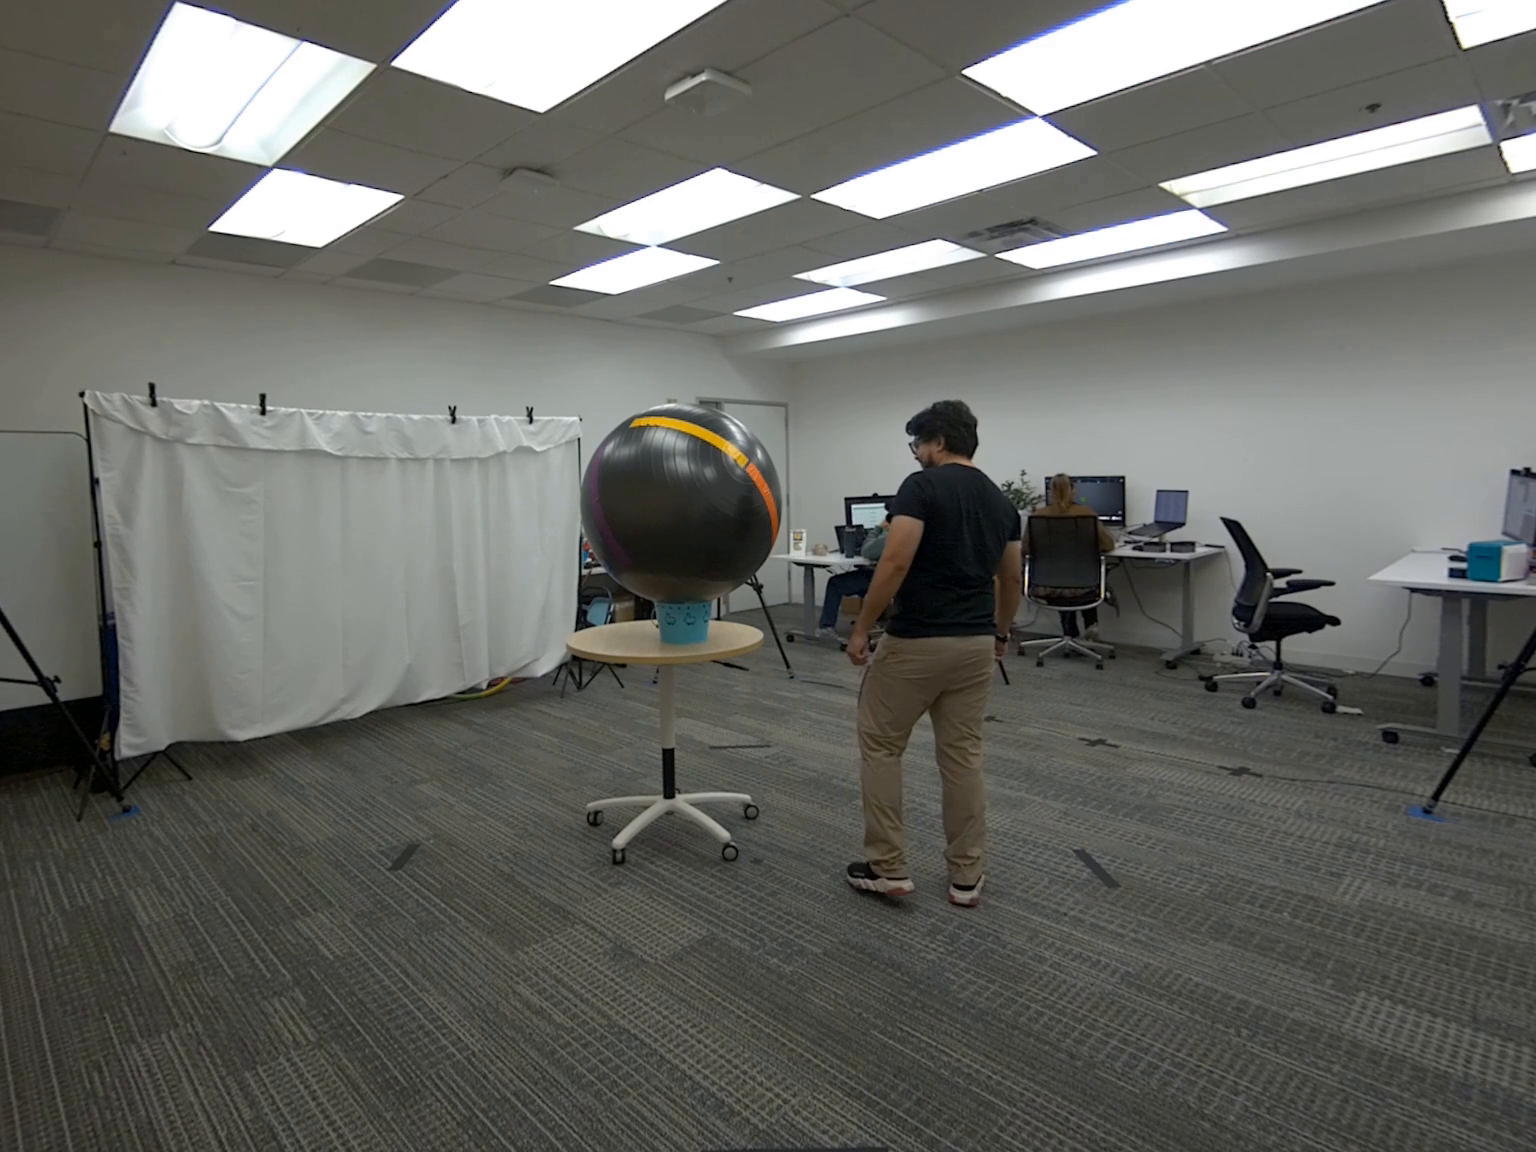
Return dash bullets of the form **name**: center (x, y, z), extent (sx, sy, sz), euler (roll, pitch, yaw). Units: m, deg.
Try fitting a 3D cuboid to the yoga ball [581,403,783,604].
- **yoga ball**: center (-0.326, -0.266, 3.228), extent (0.757, 0.755, 0.762), euler (-1, 5, -2)
